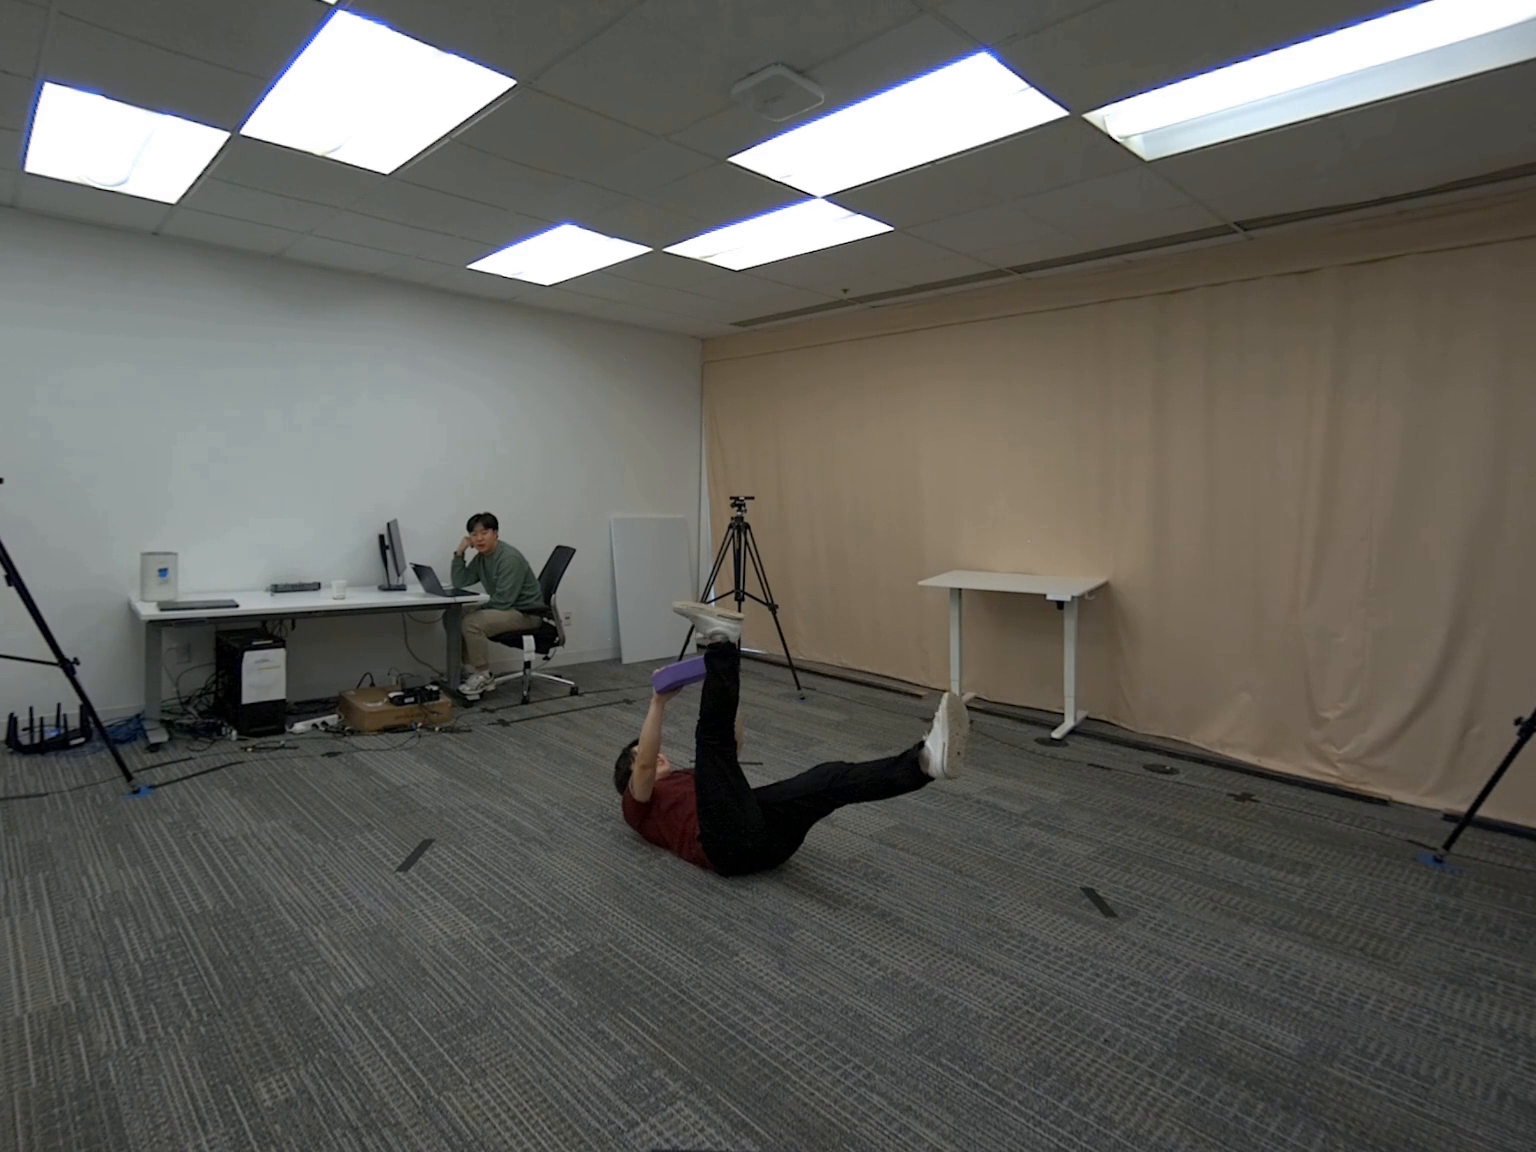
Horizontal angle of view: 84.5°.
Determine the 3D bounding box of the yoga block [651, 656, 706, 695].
[{"bbox_3d":[-0.321,0.374,3.232,0.225,0.077,0.150,-13,-15,-36],"label":"yoga block"}]
